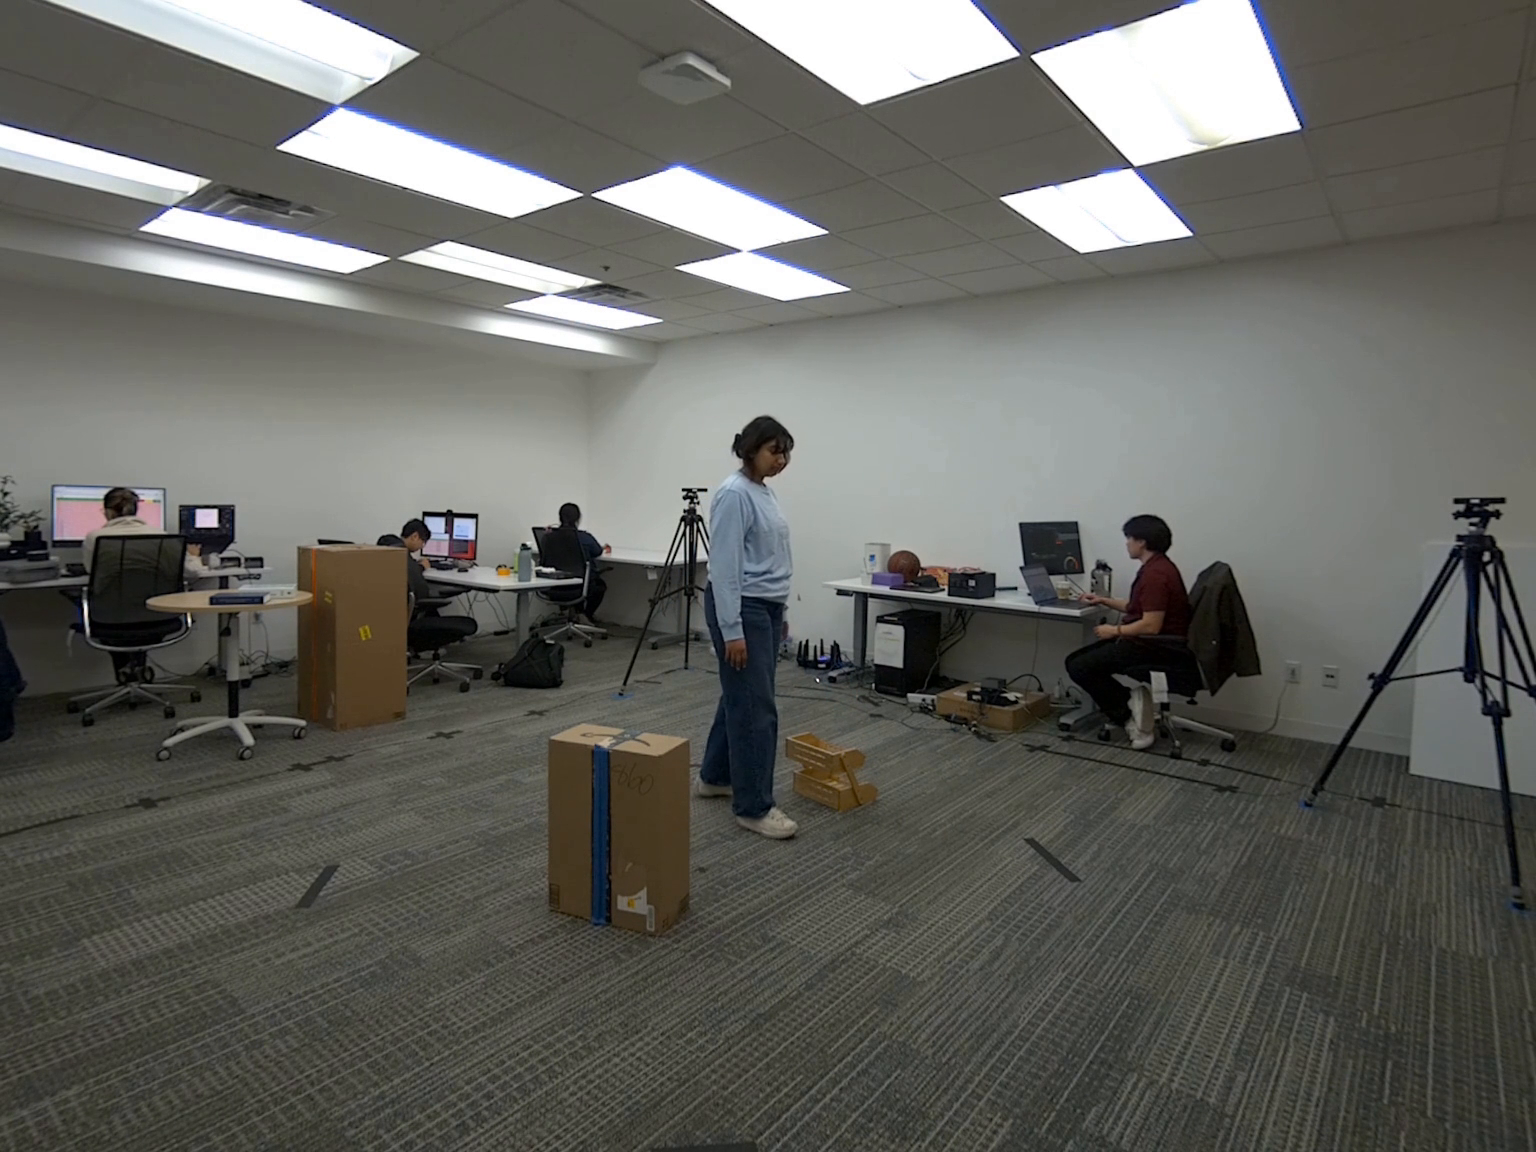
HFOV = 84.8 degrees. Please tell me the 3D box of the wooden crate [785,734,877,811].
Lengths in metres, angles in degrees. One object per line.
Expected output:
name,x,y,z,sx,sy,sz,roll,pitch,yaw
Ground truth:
wooden crate,0.283,0.875,3.882,0.293,0.272,0.335,-3,6,-39
